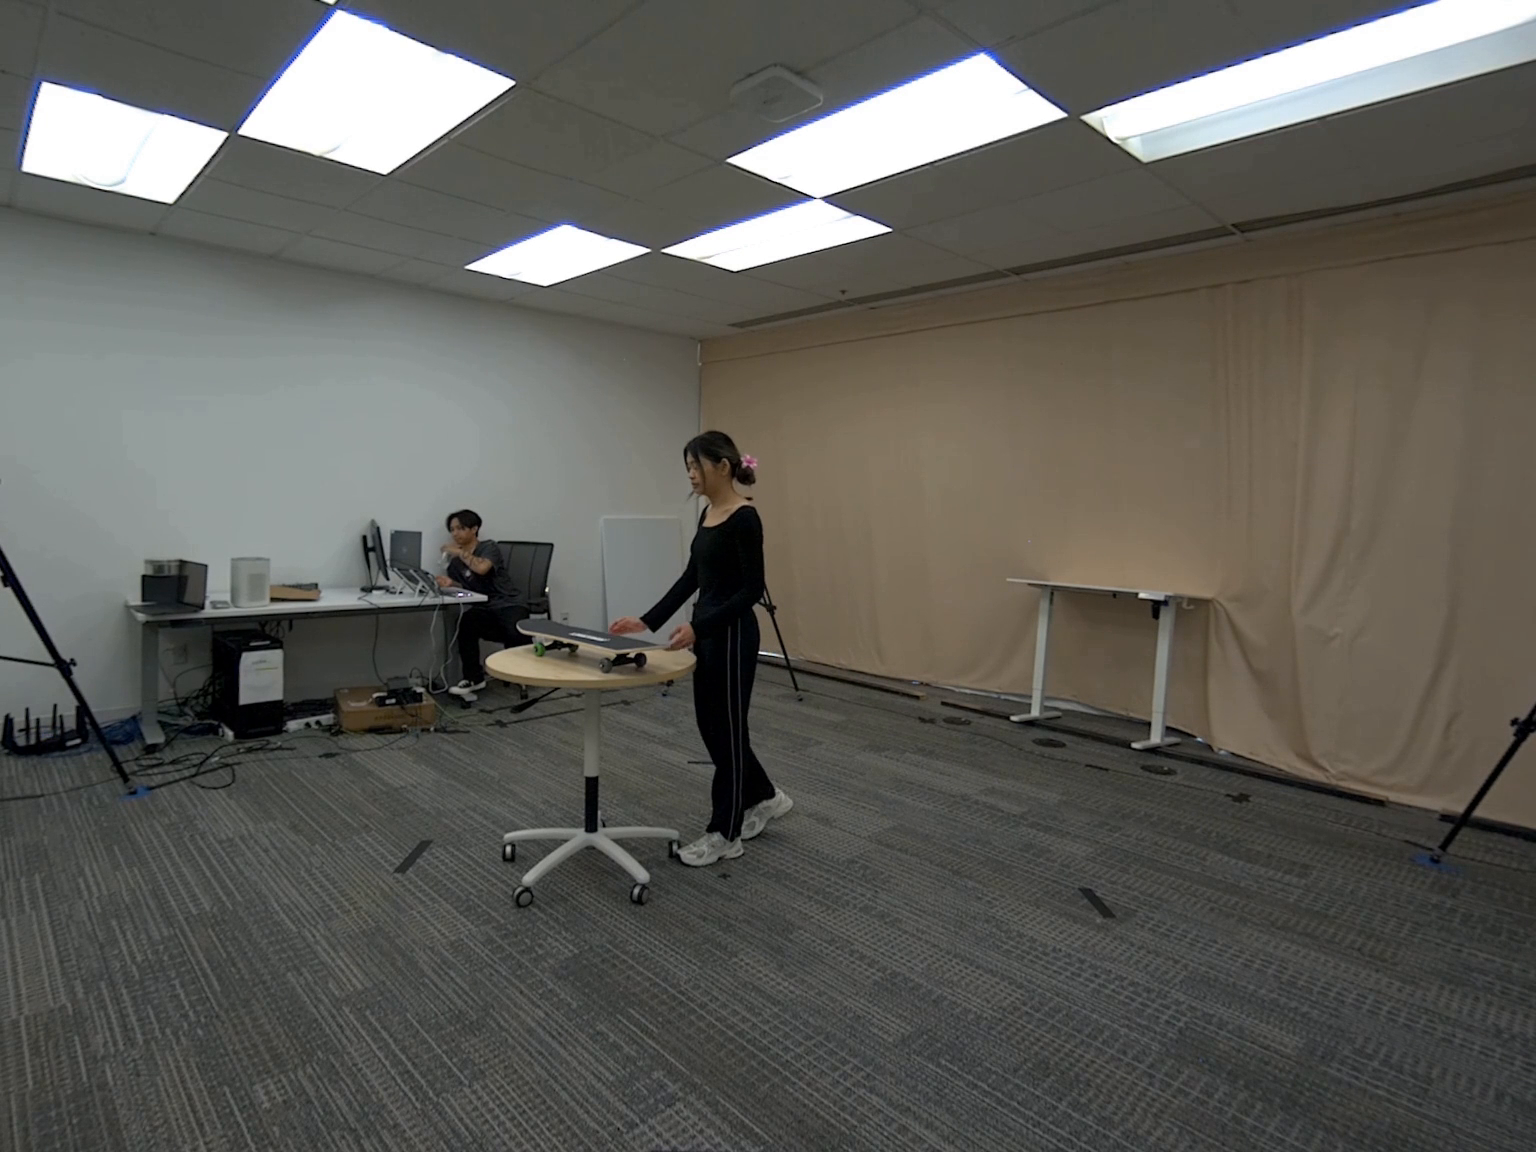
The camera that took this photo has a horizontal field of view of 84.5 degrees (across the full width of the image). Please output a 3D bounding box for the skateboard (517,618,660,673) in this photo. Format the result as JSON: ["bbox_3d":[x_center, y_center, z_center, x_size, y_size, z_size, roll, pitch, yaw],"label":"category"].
[{"bbox_3d":[-0.654,0.263,3.037,0.805,0.110,0.189,6,8,41],"label":"skateboard"}]
